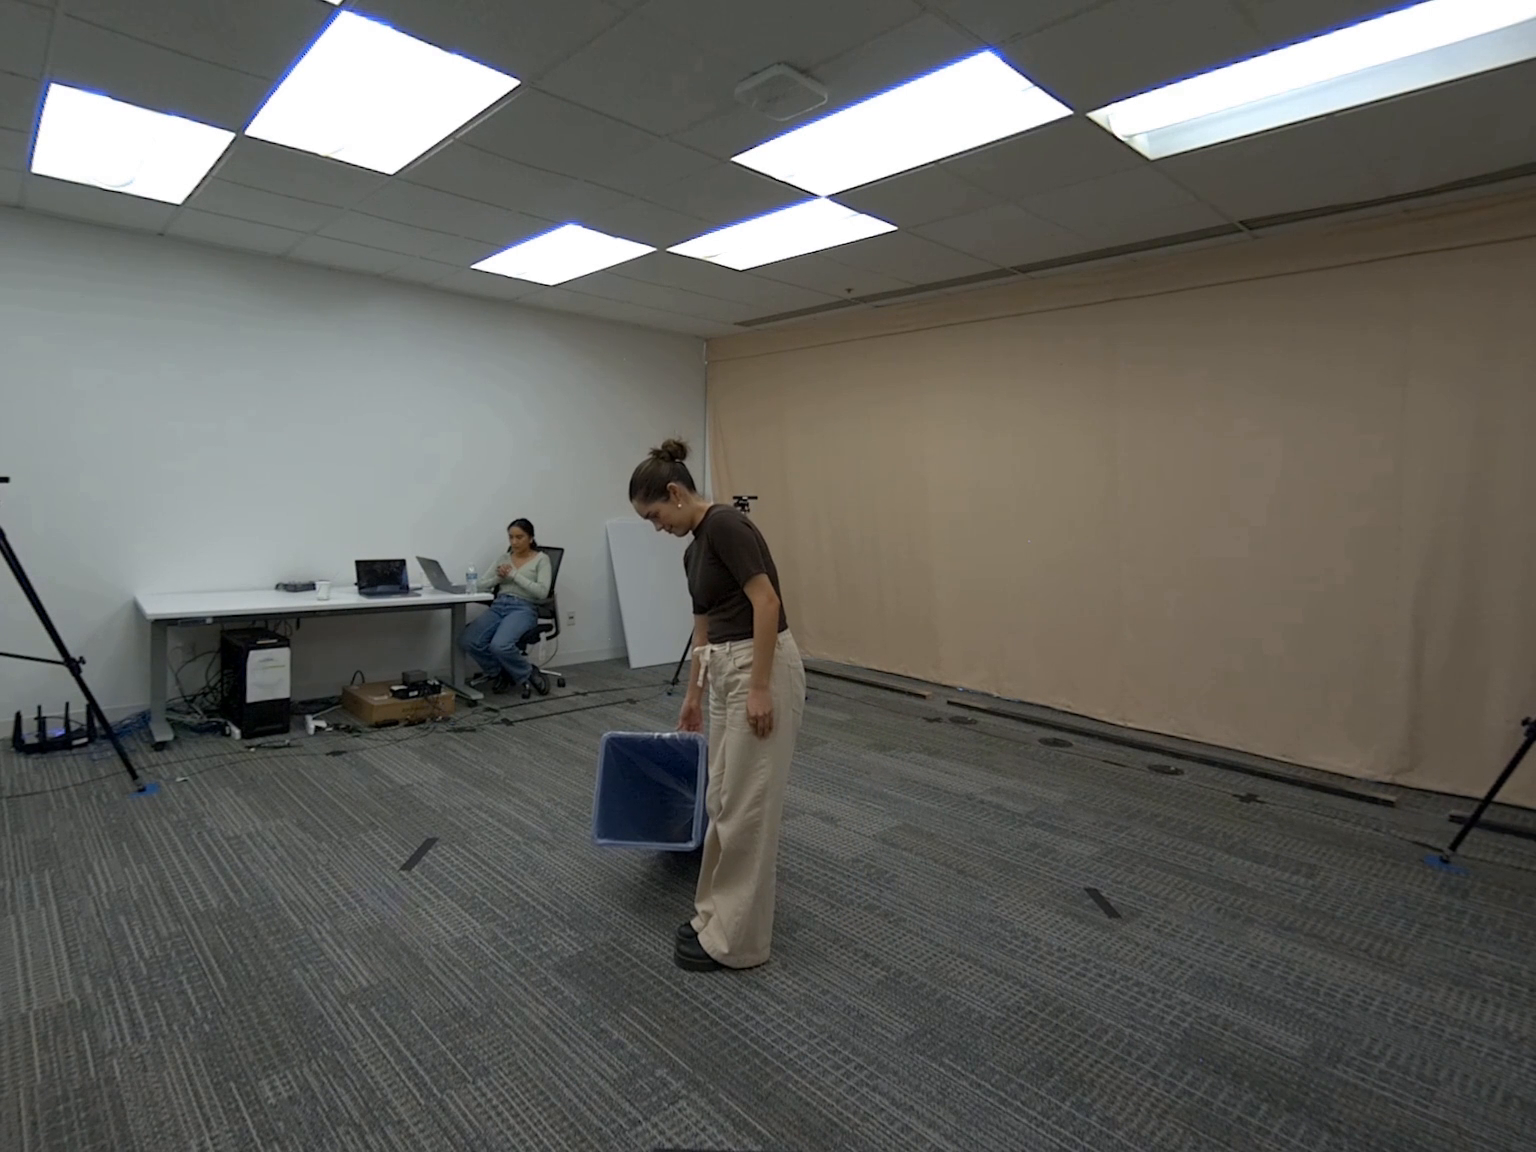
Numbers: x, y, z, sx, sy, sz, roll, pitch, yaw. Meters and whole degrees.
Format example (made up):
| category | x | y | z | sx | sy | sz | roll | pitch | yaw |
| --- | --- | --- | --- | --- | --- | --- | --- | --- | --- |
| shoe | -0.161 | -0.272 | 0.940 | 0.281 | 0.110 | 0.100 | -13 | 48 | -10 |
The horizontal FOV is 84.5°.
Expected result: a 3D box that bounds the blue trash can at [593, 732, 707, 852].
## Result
| category | x | y | z | sx | sy | sz | roll | pitch | yaw |
| --- | --- | --- | --- | --- | --- | --- | --- | --- | --- |
| blue trash can | -0.343 | 0.816 | 3.086 | 0.381 | 0.379 | 0.697 | -1 | -21 | 11 |
